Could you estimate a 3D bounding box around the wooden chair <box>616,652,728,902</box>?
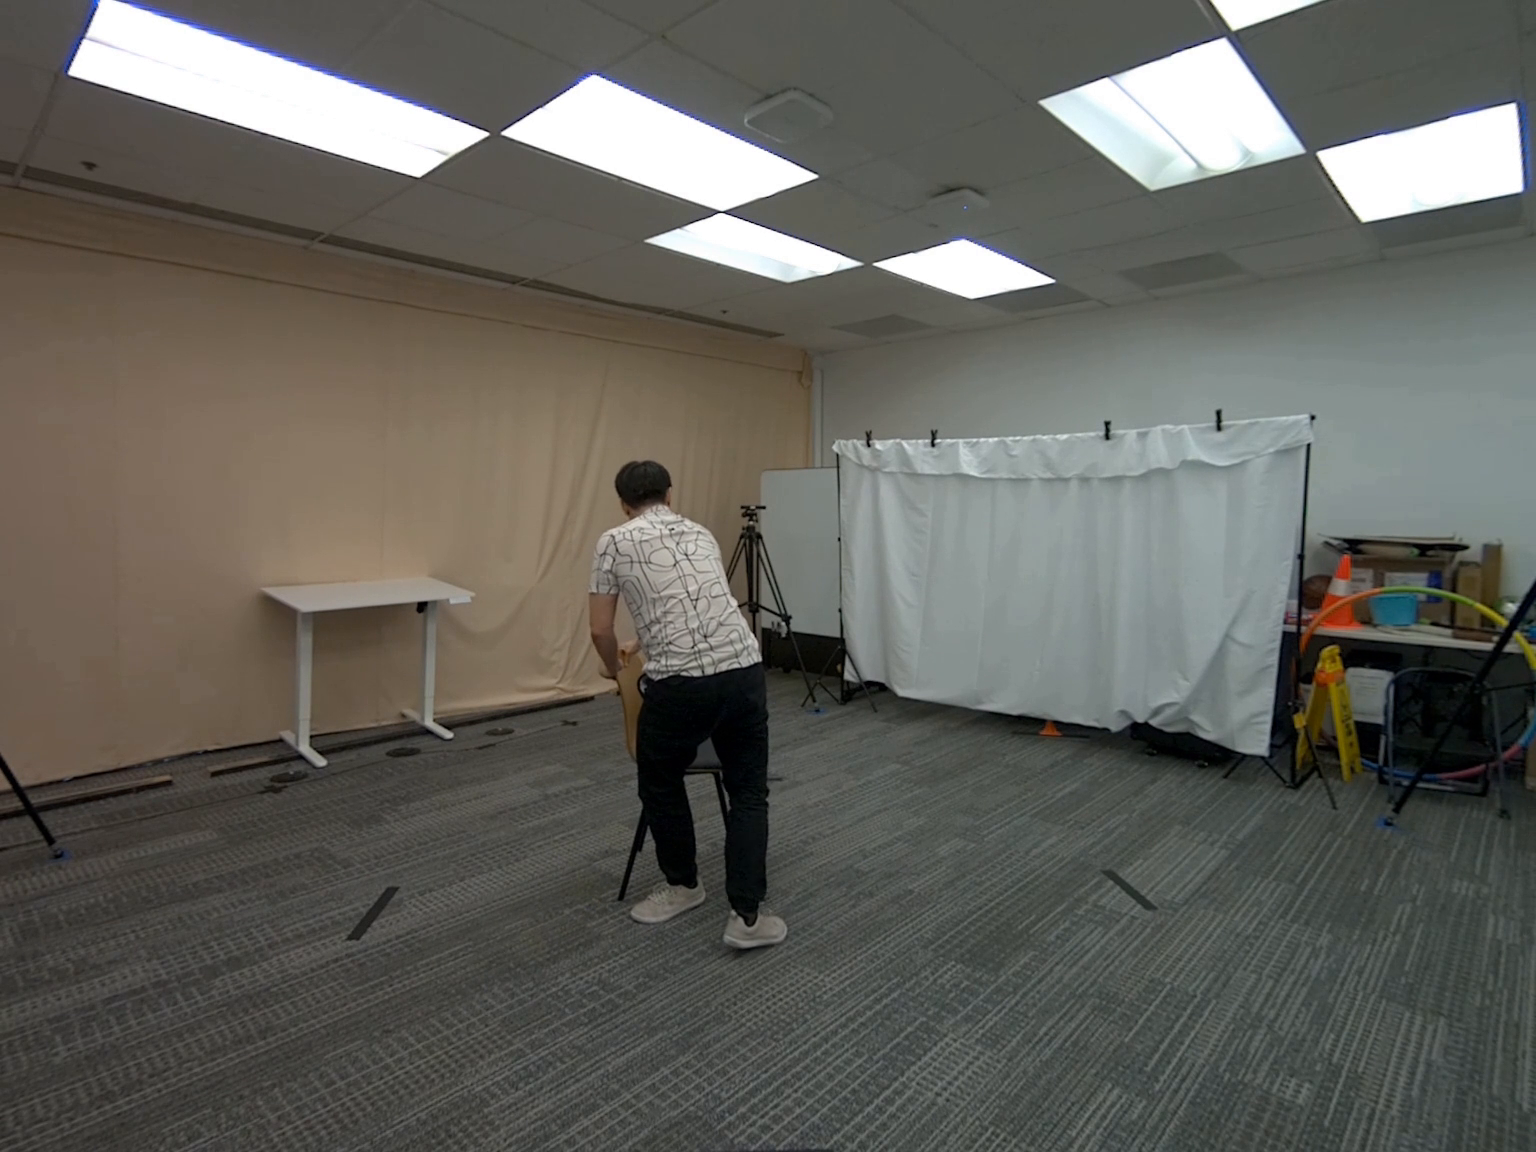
[{"bbox_3d":[-0.298,0.700,3.151,0.524,0.876,0.478,-5,3,1],"label":"wooden chair"}]
